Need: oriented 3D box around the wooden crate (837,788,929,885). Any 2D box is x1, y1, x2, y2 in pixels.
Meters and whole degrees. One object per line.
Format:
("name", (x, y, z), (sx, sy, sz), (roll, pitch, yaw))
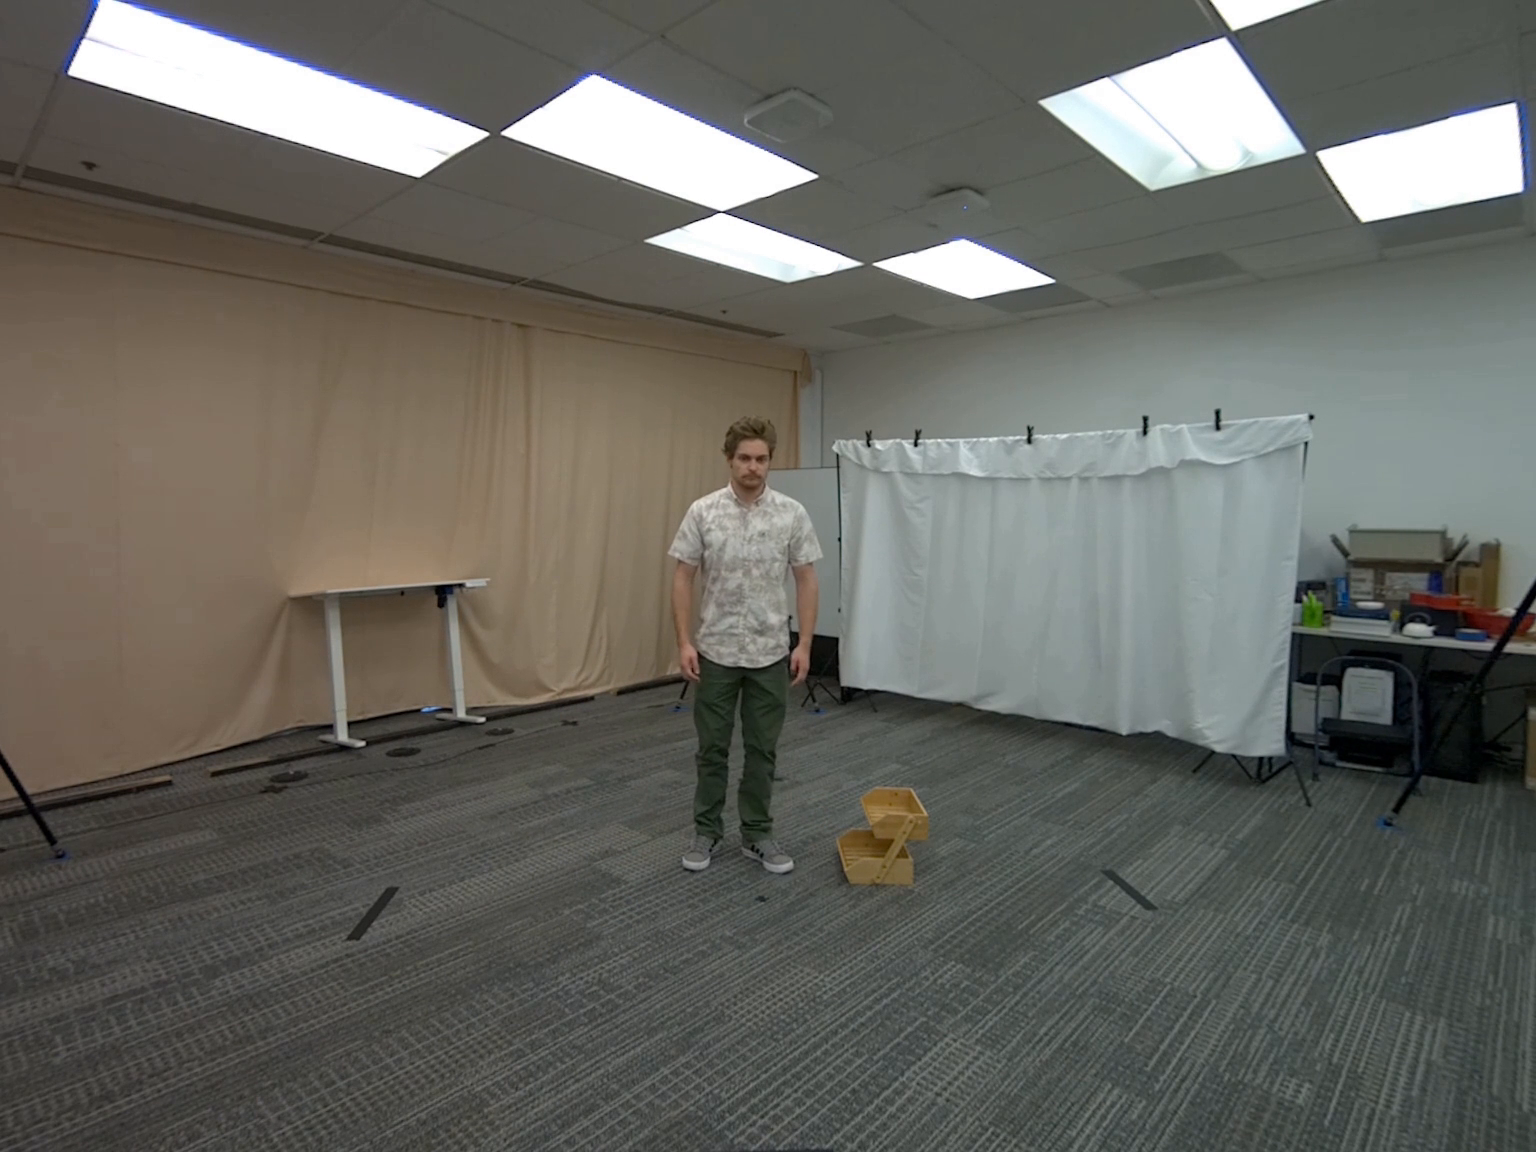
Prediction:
("wooden crate", (0.429, 0.987, 3.235), (0.302, 0.273, 0.325), (0, 4, -1))
